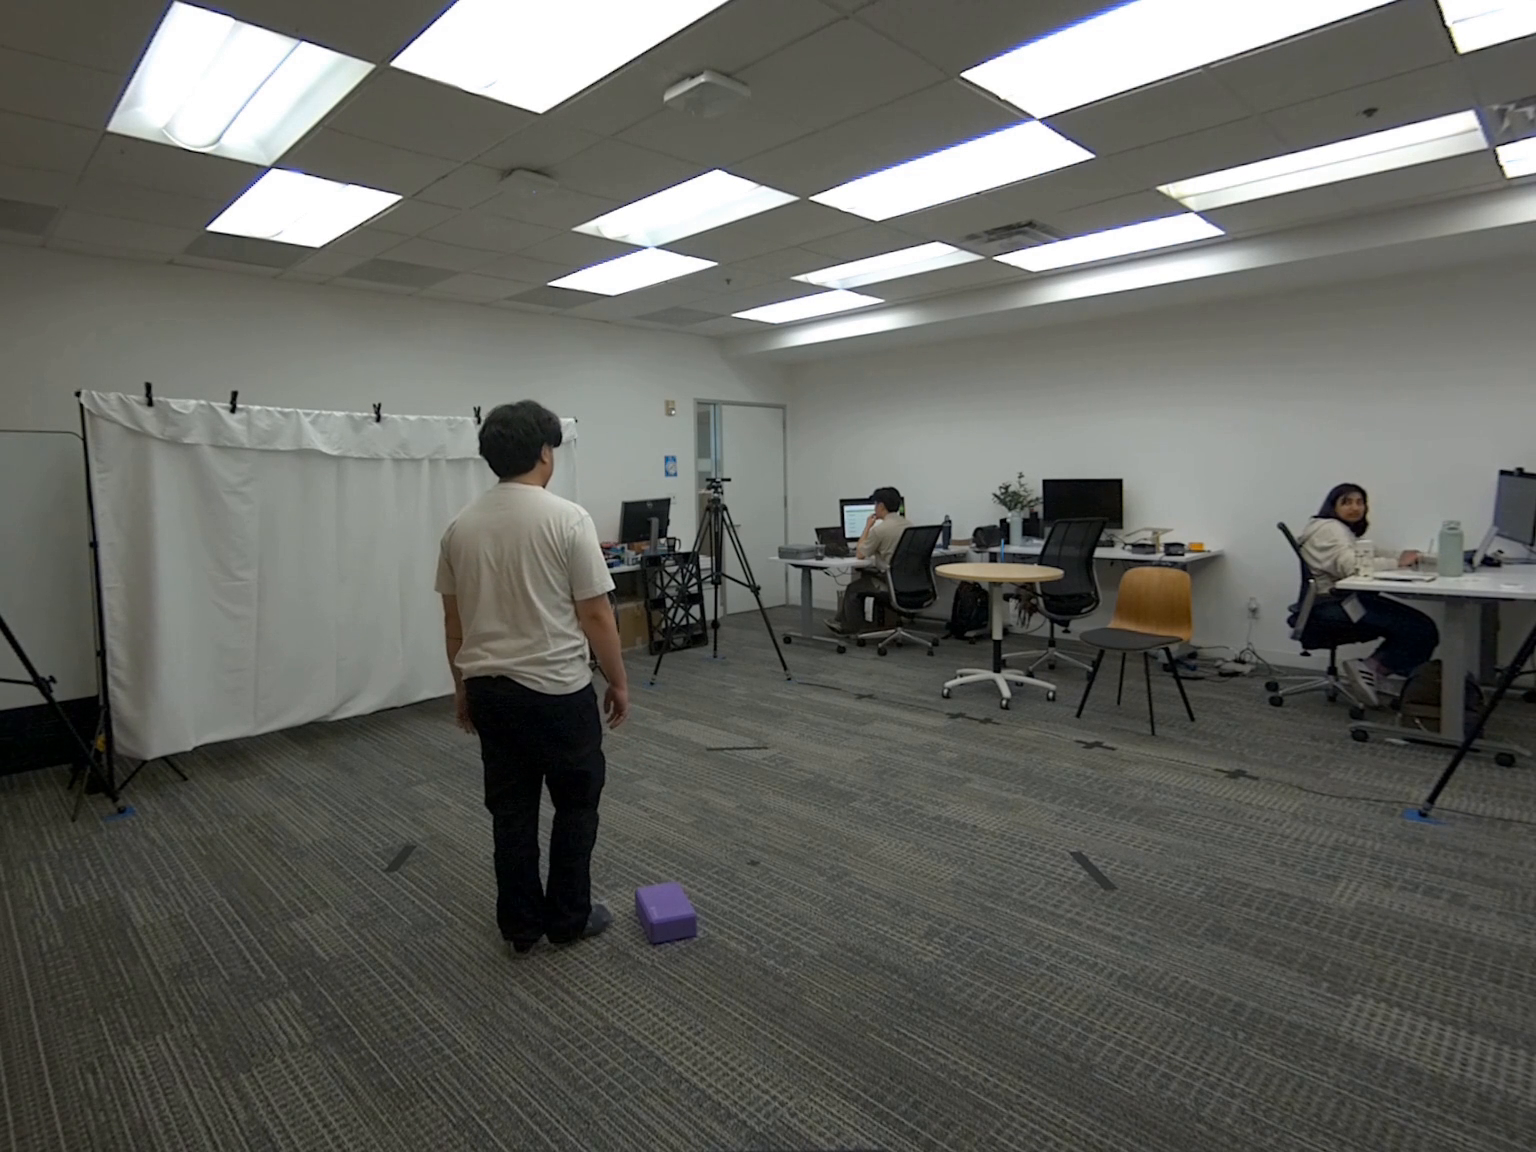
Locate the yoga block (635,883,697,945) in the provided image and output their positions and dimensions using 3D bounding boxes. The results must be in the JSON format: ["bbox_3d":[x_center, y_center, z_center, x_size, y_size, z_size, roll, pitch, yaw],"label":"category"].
[{"bbox_3d":[-0.319,1.055,2.691,0.146,0.076,0.234,-3,7,-19],"label":"yoga block"}]
